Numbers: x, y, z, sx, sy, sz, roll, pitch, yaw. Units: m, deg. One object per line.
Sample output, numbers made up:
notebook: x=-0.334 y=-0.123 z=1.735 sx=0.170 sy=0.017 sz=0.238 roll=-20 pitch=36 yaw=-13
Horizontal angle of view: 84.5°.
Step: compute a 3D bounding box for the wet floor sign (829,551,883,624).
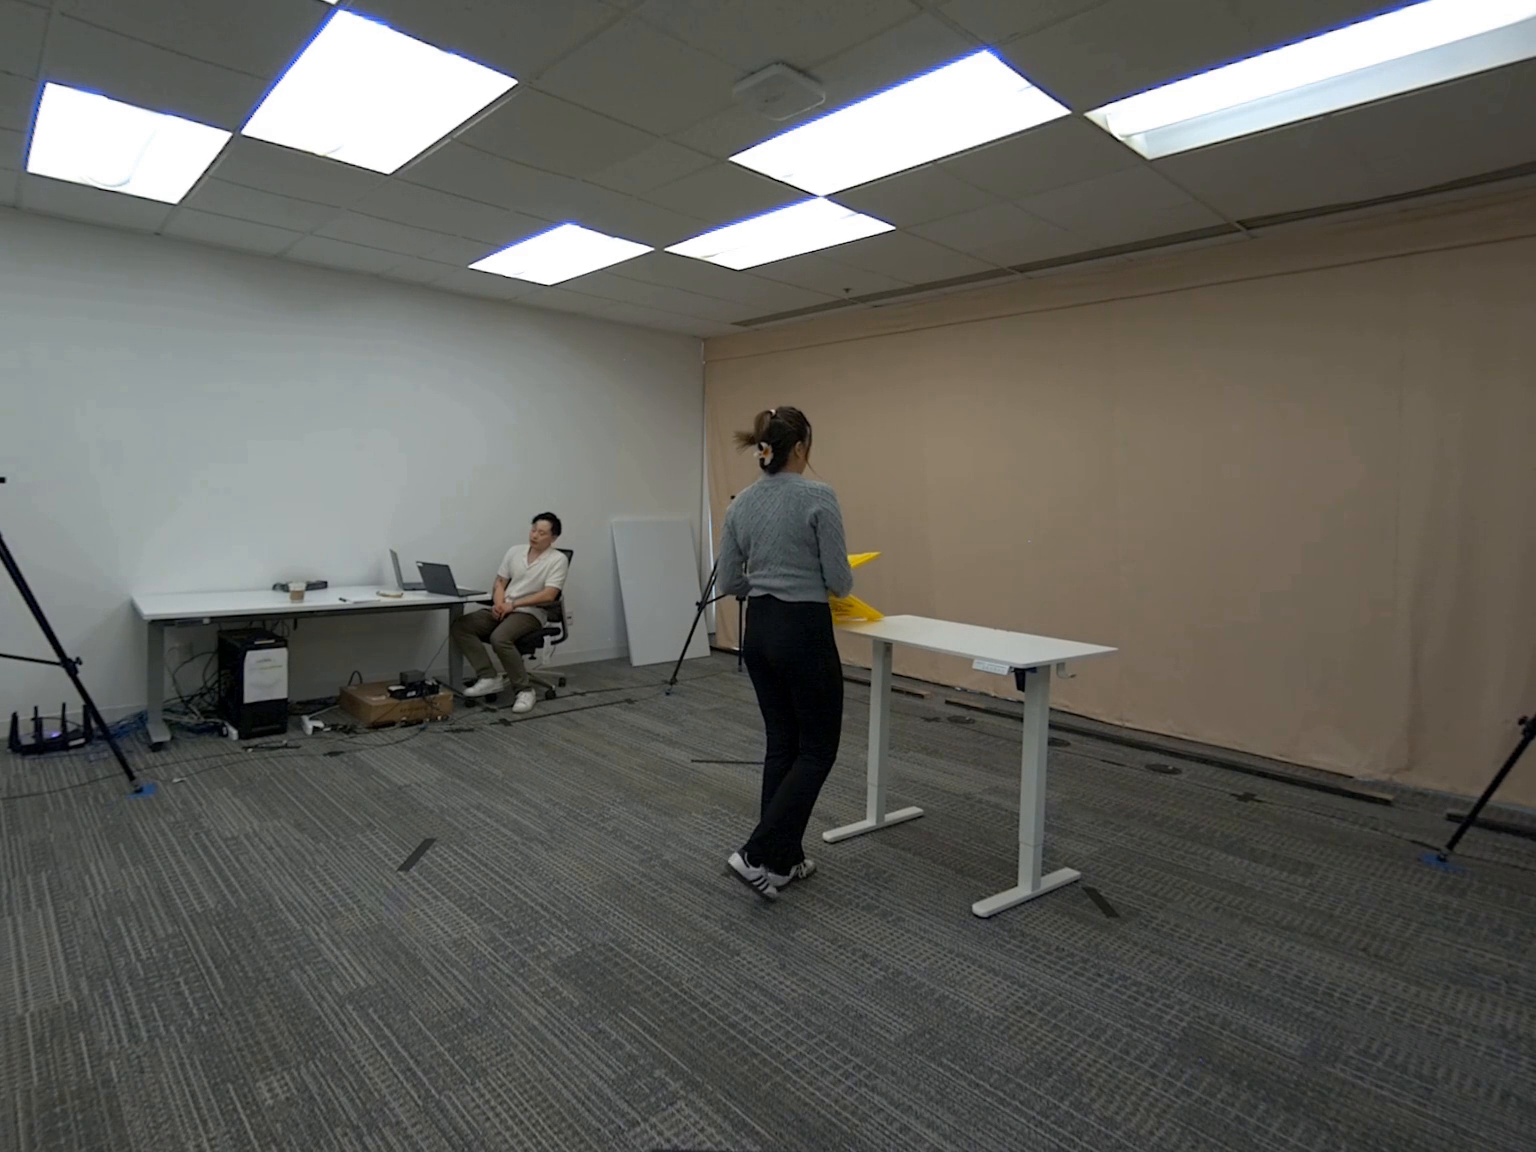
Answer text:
wet floor sign: x=0.217 y=0.036 z=3.426 sx=0.287 sy=0.291 sz=0.633 roll=-5 pitch=-5 yaw=23
